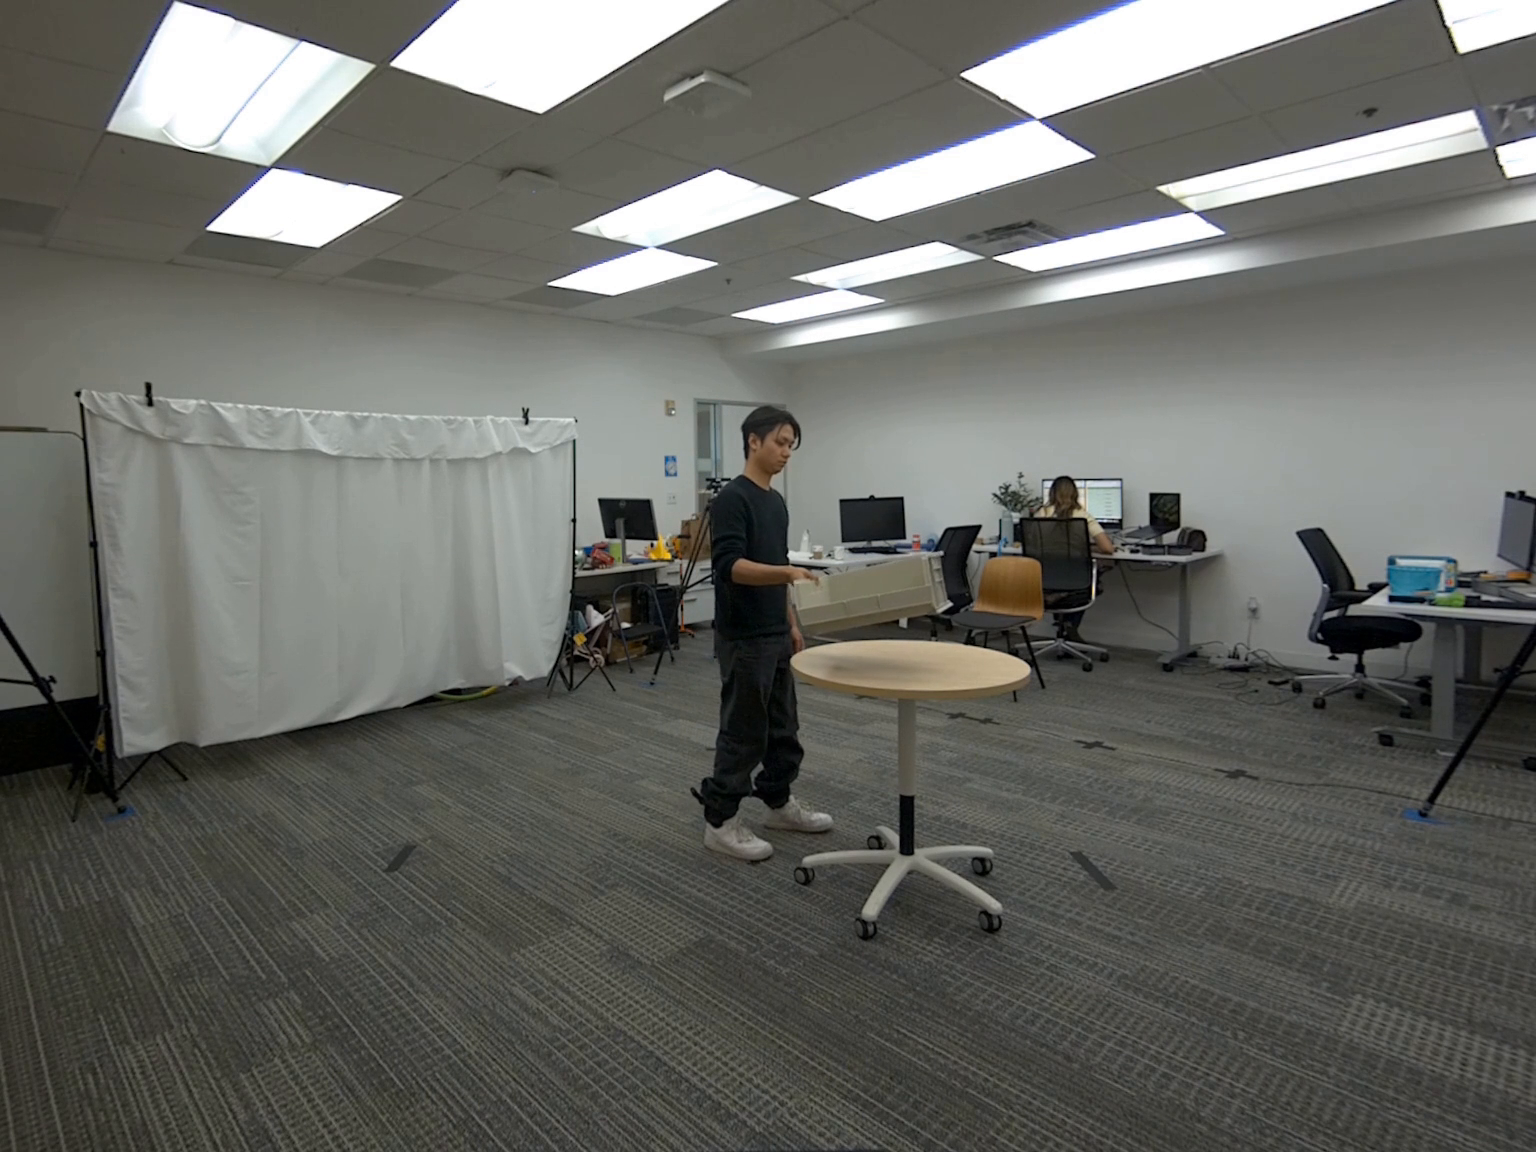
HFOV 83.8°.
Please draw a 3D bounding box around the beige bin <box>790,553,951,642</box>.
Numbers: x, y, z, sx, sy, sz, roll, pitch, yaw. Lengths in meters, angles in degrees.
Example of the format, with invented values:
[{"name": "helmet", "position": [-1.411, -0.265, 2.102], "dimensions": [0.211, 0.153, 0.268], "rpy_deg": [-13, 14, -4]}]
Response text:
[{"name": "beige bin", "position": [0.343, 0.062, 2.713], "dimensions": [0.429, 0.190, 0.370], "rpy_deg": [-13, -3, 22]}]
